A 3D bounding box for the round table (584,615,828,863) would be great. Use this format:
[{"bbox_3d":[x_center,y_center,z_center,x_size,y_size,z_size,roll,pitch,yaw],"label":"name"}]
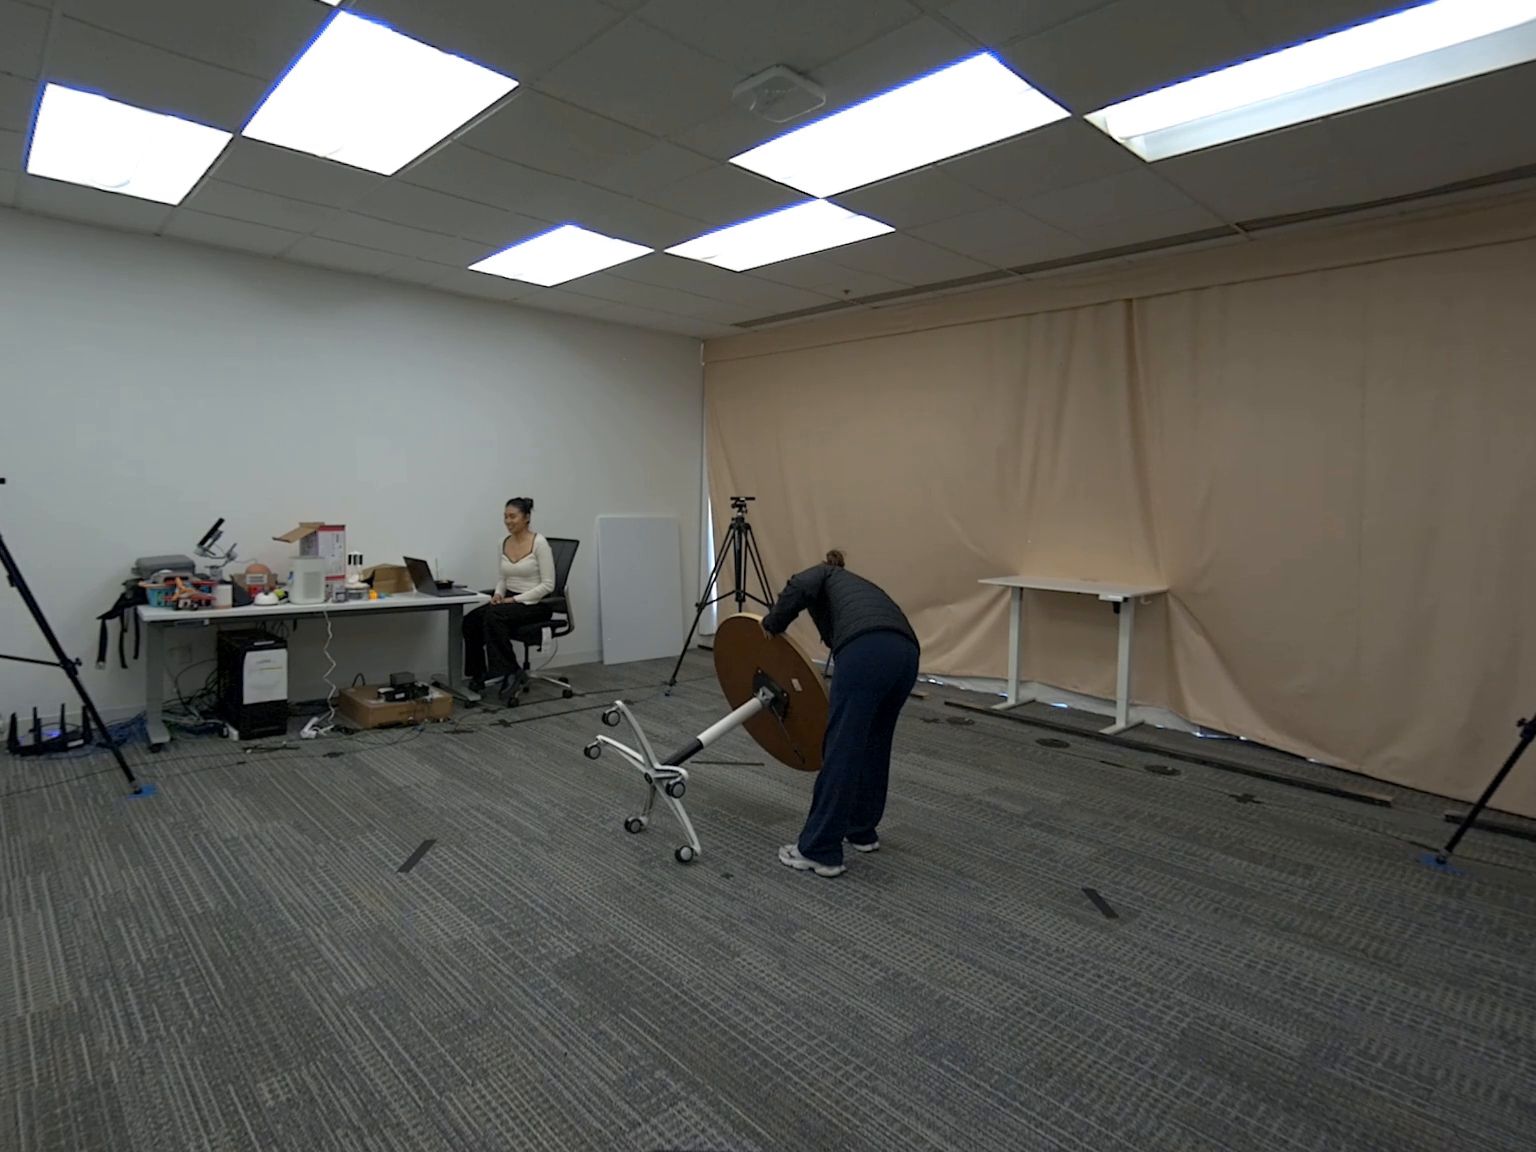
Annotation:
[{"bbox_3d":[-0.248,0.664,3.466,0.779,0.772,0.805,-30,22,-34],"label":"round table"}]
